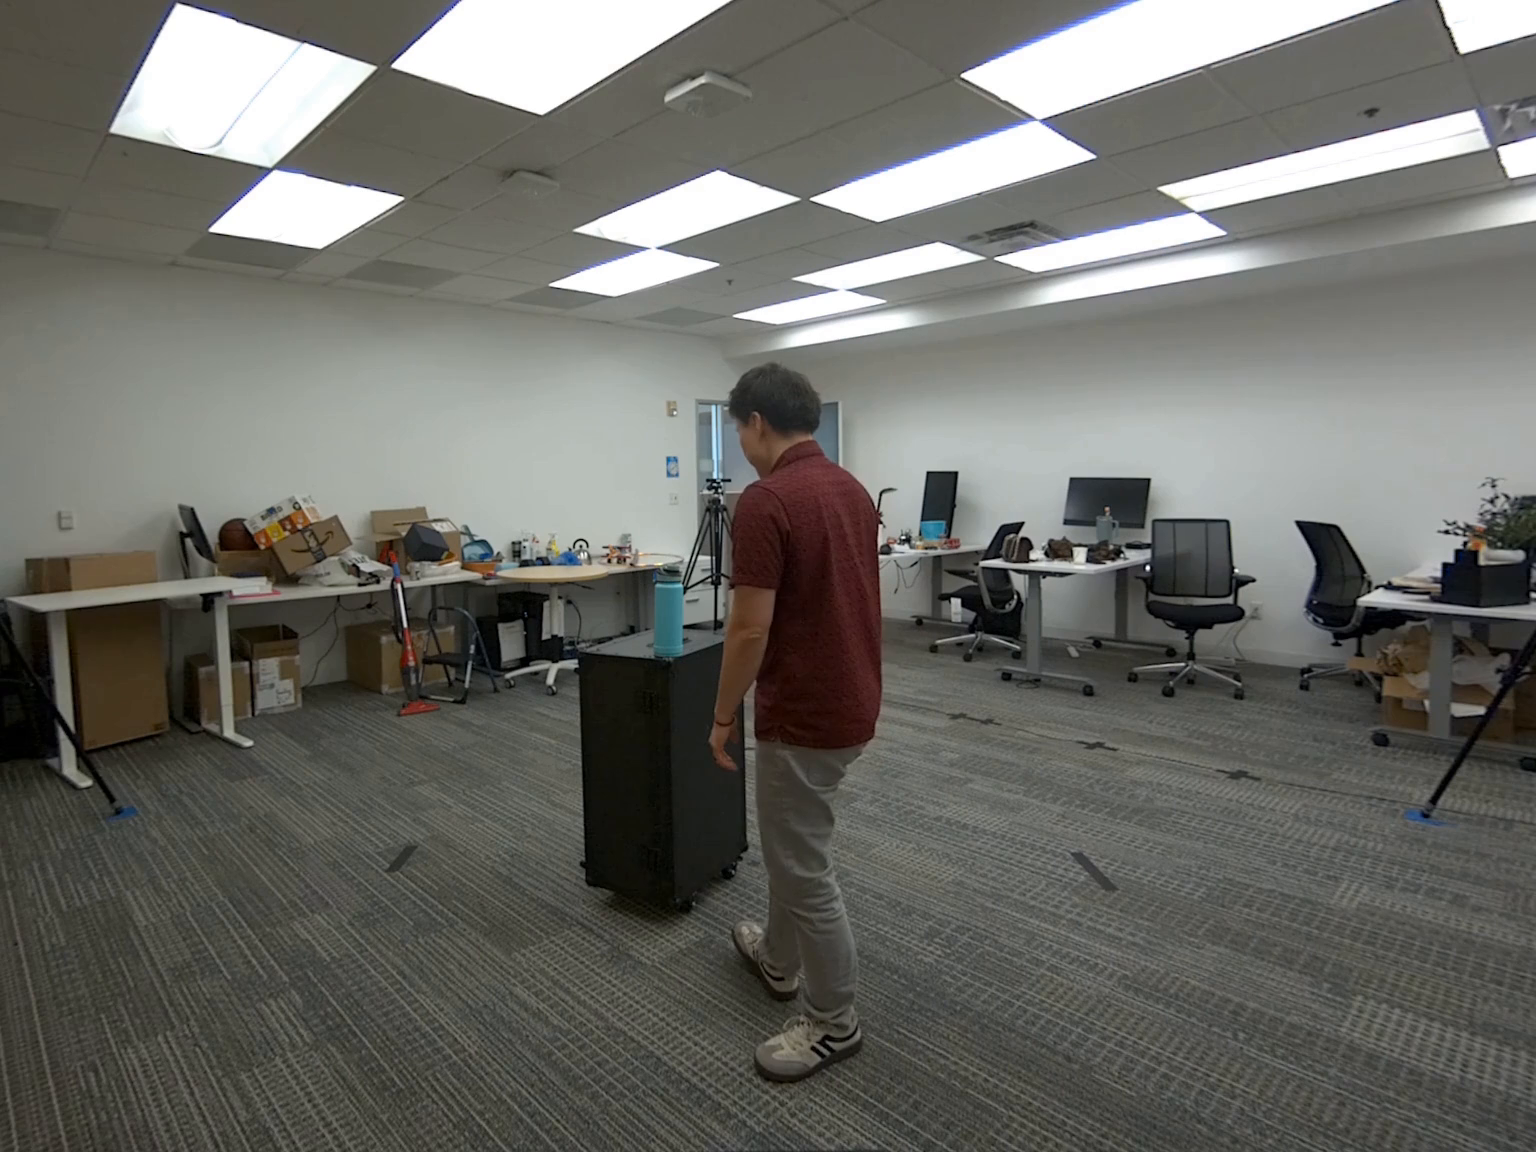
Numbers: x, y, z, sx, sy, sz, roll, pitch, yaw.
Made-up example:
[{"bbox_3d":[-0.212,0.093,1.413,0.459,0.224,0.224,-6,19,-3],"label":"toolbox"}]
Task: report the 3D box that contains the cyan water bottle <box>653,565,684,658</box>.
[{"bbox_3d":[-0.309,0.105,2.666,0.092,0.282,0.093,1,4,-2],"label":"cyan water bottle"}]
